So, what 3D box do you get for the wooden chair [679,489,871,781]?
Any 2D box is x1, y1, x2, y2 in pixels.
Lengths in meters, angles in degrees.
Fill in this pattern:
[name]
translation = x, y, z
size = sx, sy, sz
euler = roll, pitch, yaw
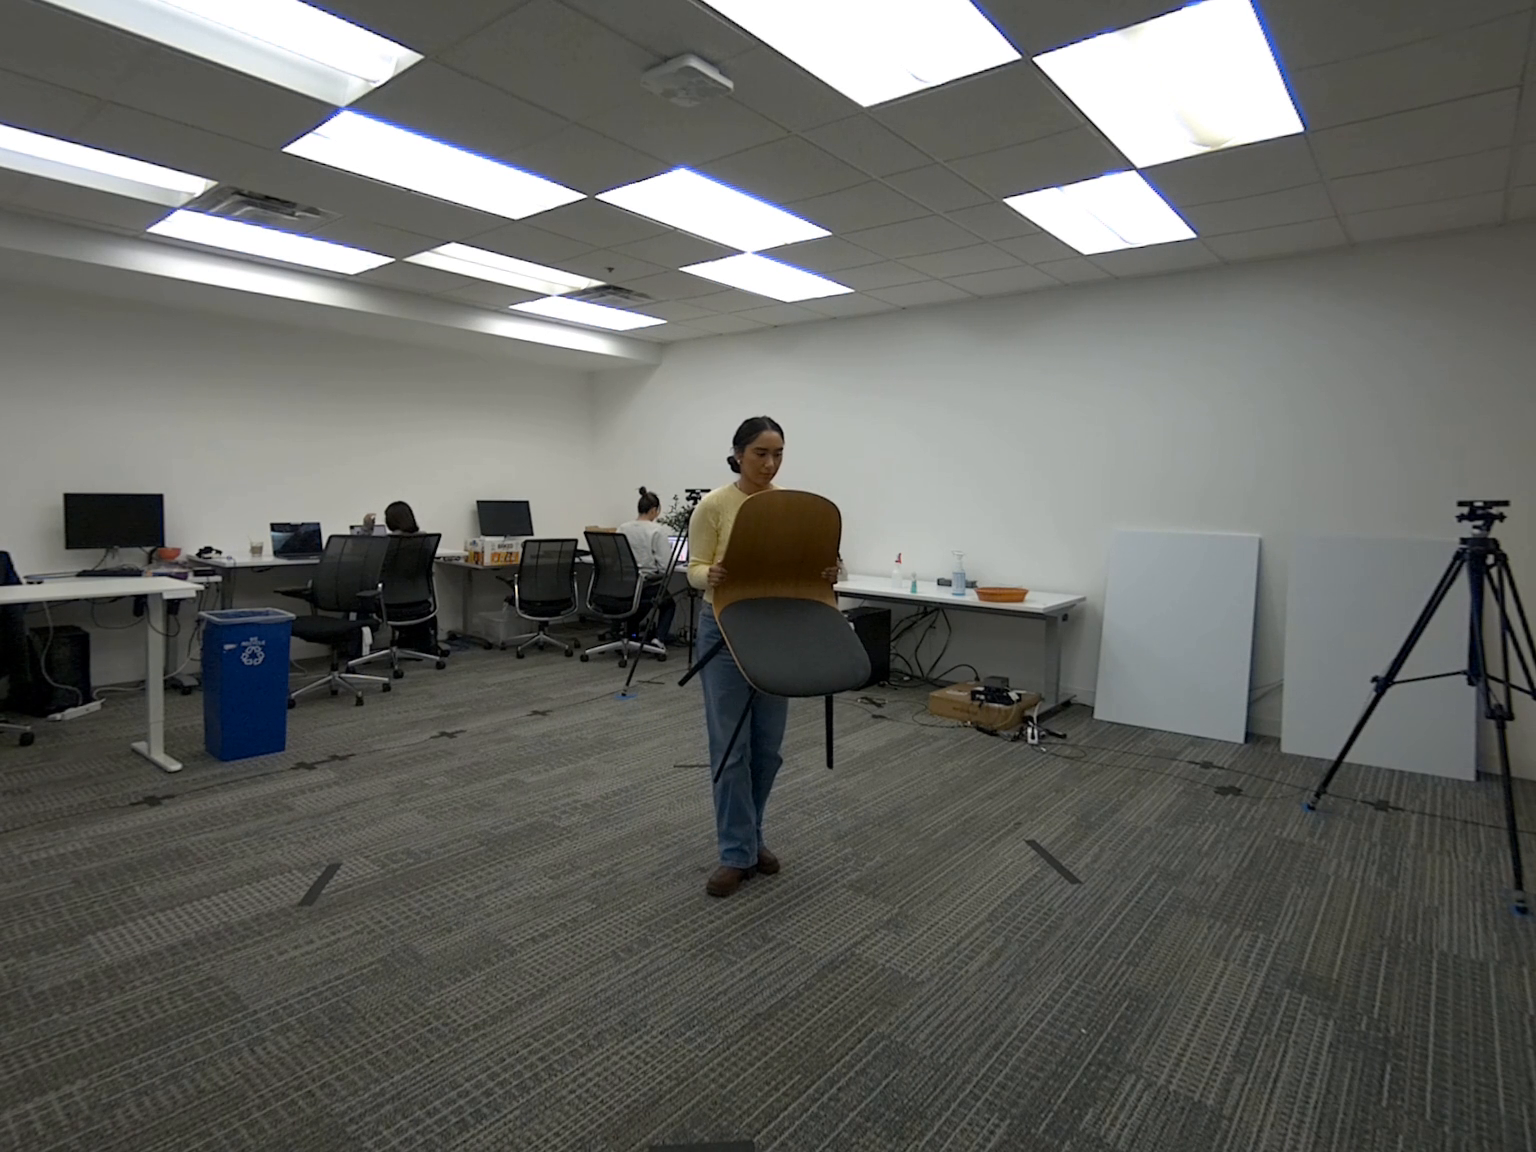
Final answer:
[wooden chair]
translation = 0.062, 0.214, 2.842
size = 0.467, 0.862, 0.544
euler = 0, 33, -24
